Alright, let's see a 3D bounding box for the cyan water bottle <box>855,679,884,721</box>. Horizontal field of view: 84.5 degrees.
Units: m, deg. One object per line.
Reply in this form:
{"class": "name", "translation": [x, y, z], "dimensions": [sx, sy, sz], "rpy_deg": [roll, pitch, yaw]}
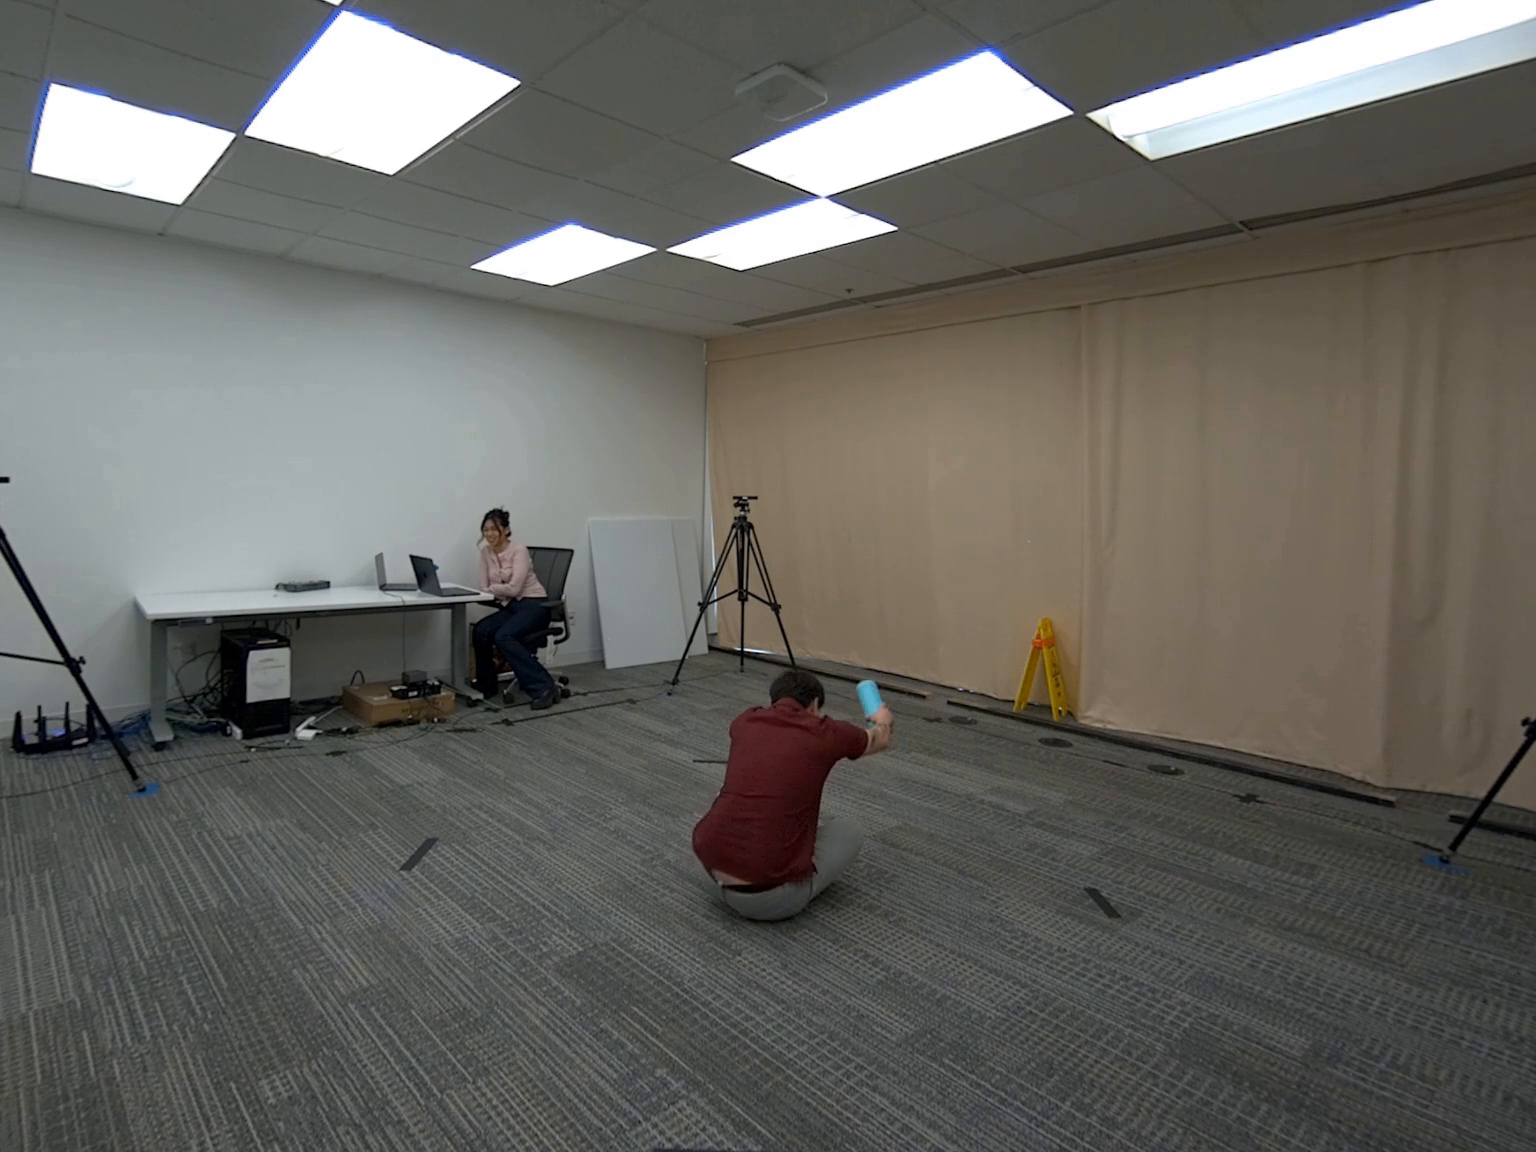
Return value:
{"class": "cyan water bottle", "translation": [0.443, 0.583, 3.513], "dimensions": [0.092, 0.090, 0.290], "rpy_deg": [0, 42, -8]}
